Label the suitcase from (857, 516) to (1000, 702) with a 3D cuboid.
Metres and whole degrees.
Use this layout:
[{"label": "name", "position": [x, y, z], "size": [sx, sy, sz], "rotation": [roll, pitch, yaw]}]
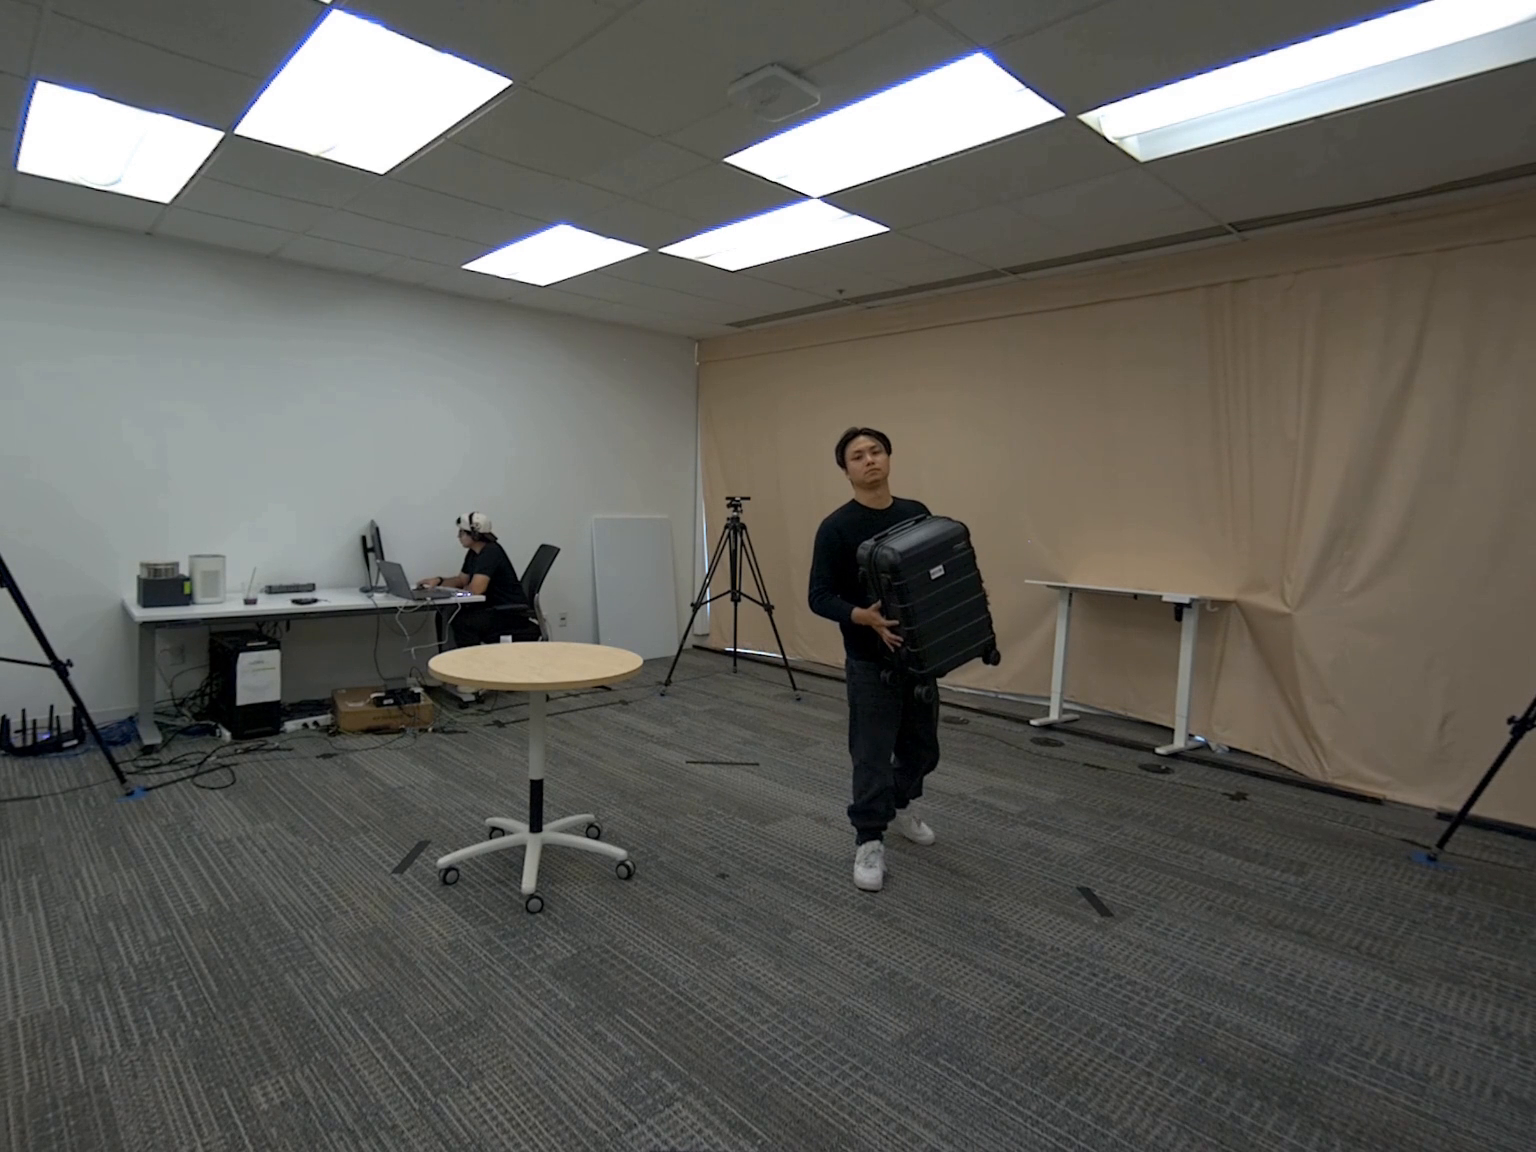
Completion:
[{"label": "suitcase", "position": [0.535, 0.081, 2.899], "size": [0.372, 0.542, 0.254], "rotation": [-22, 15, -21]}]
